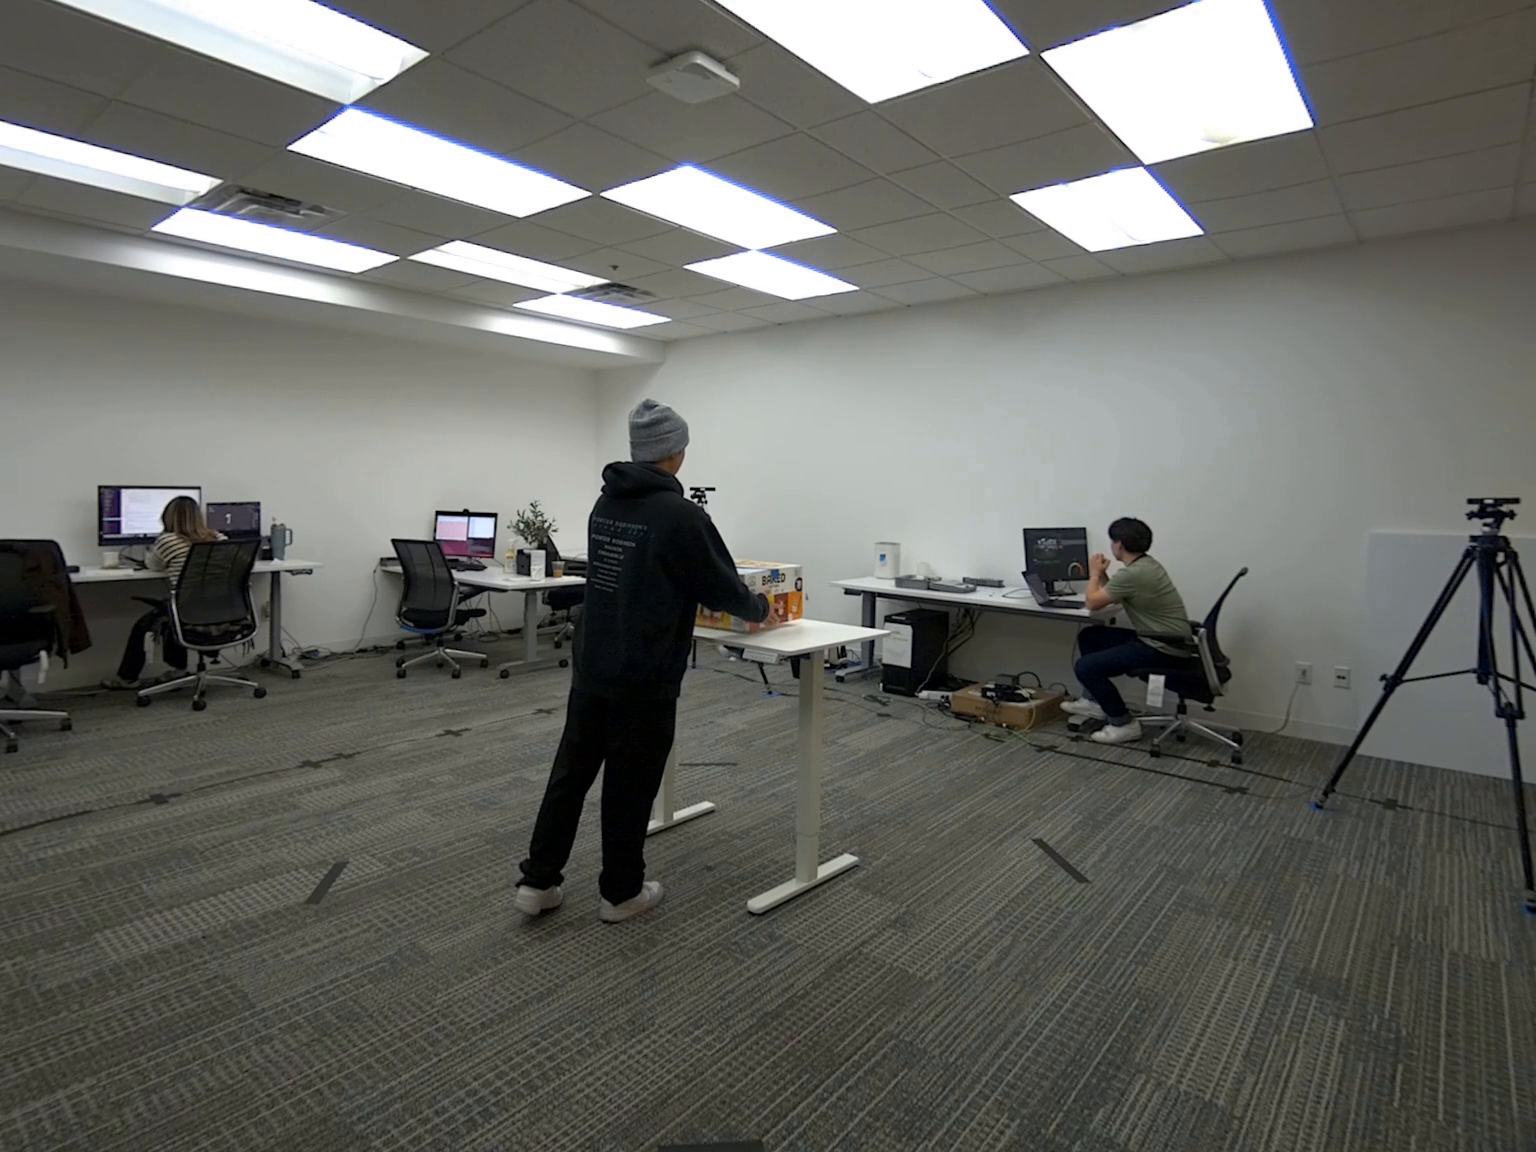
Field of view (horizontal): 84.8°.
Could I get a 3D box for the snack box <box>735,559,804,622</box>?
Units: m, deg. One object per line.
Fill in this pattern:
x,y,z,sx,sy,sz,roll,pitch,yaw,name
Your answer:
-0.144,0.055,3.193,0.419,0.205,0.331,5,8,39,snack box
